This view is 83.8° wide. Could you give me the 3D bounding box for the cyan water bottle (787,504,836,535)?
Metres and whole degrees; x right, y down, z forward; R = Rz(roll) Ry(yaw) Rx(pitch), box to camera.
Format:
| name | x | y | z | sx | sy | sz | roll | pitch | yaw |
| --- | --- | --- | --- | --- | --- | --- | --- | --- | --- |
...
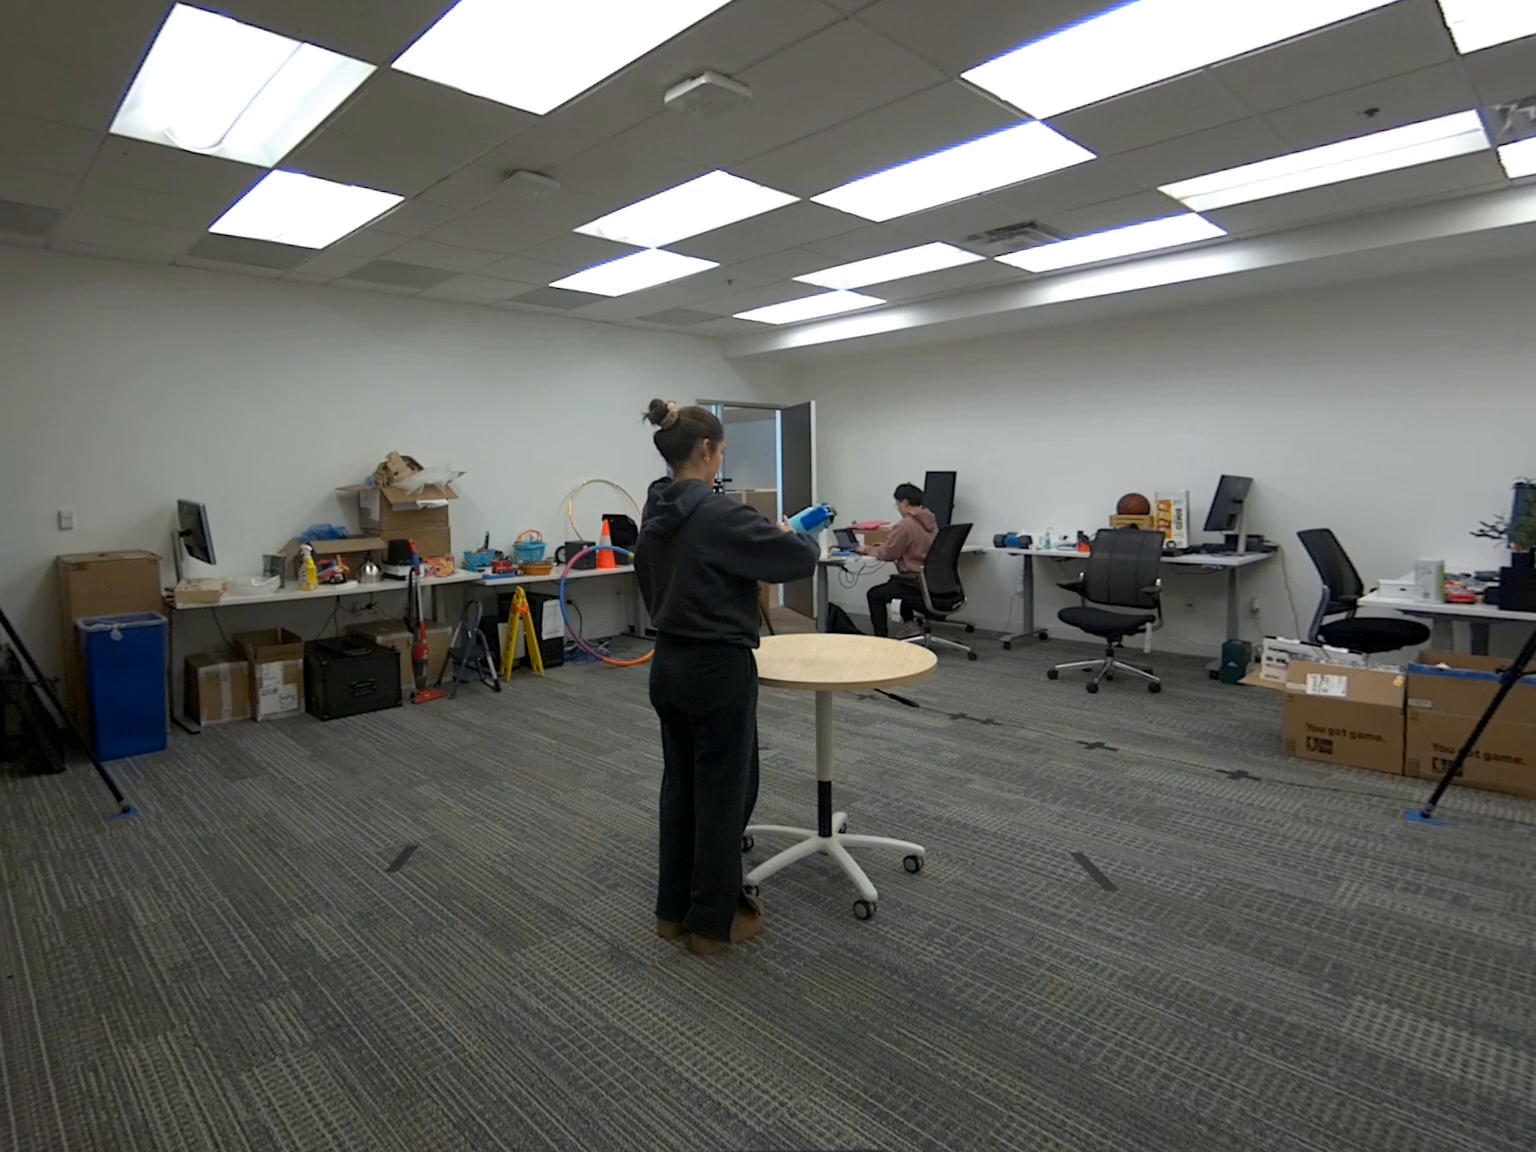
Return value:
| name | x | y | z | sx | sy | sz | roll | pitch | yaw |
| --- | --- | --- | --- | --- | --- | --- | --- | --- | --- |
| cyan water bottle | 0.088 | -0.143 | 2.762 | 0.285 | 0.093 | 0.091 | -30 | -3 | 14 |
